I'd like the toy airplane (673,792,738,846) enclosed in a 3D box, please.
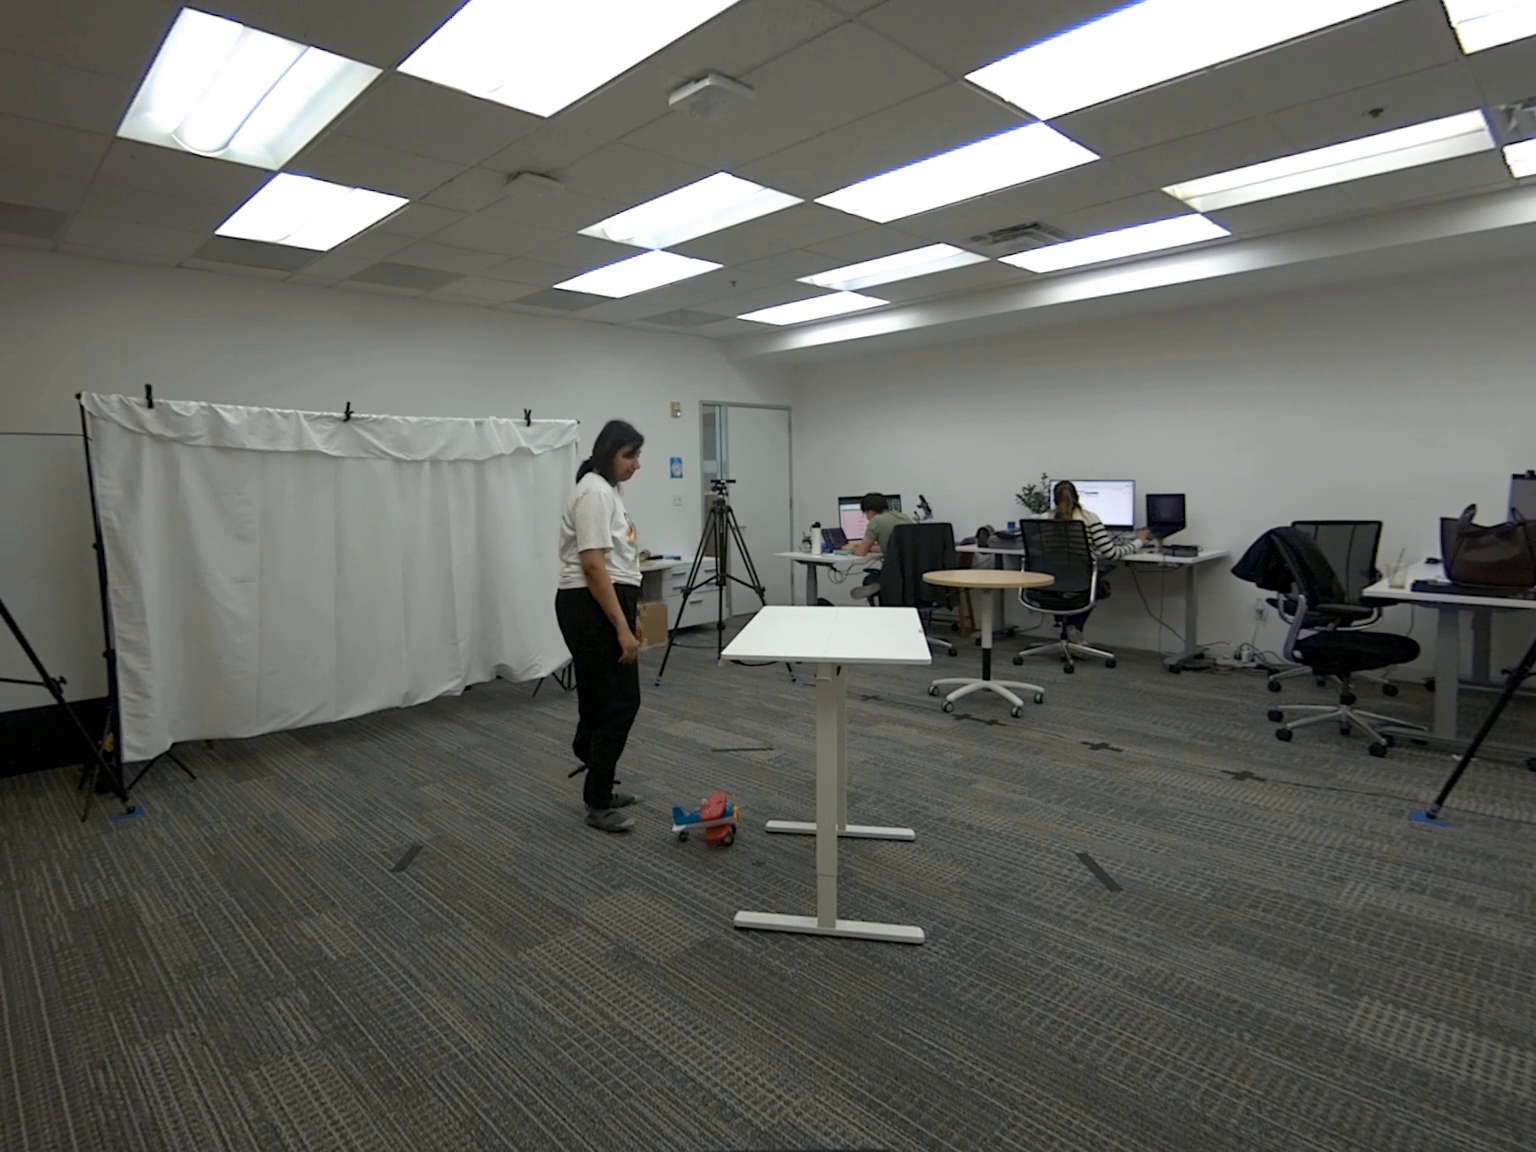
[{"bbox_3d":[-0.235,0.954,3.295,0.254,0.156,0.257,-3,5,-25],"label":"toy airplane"}]
